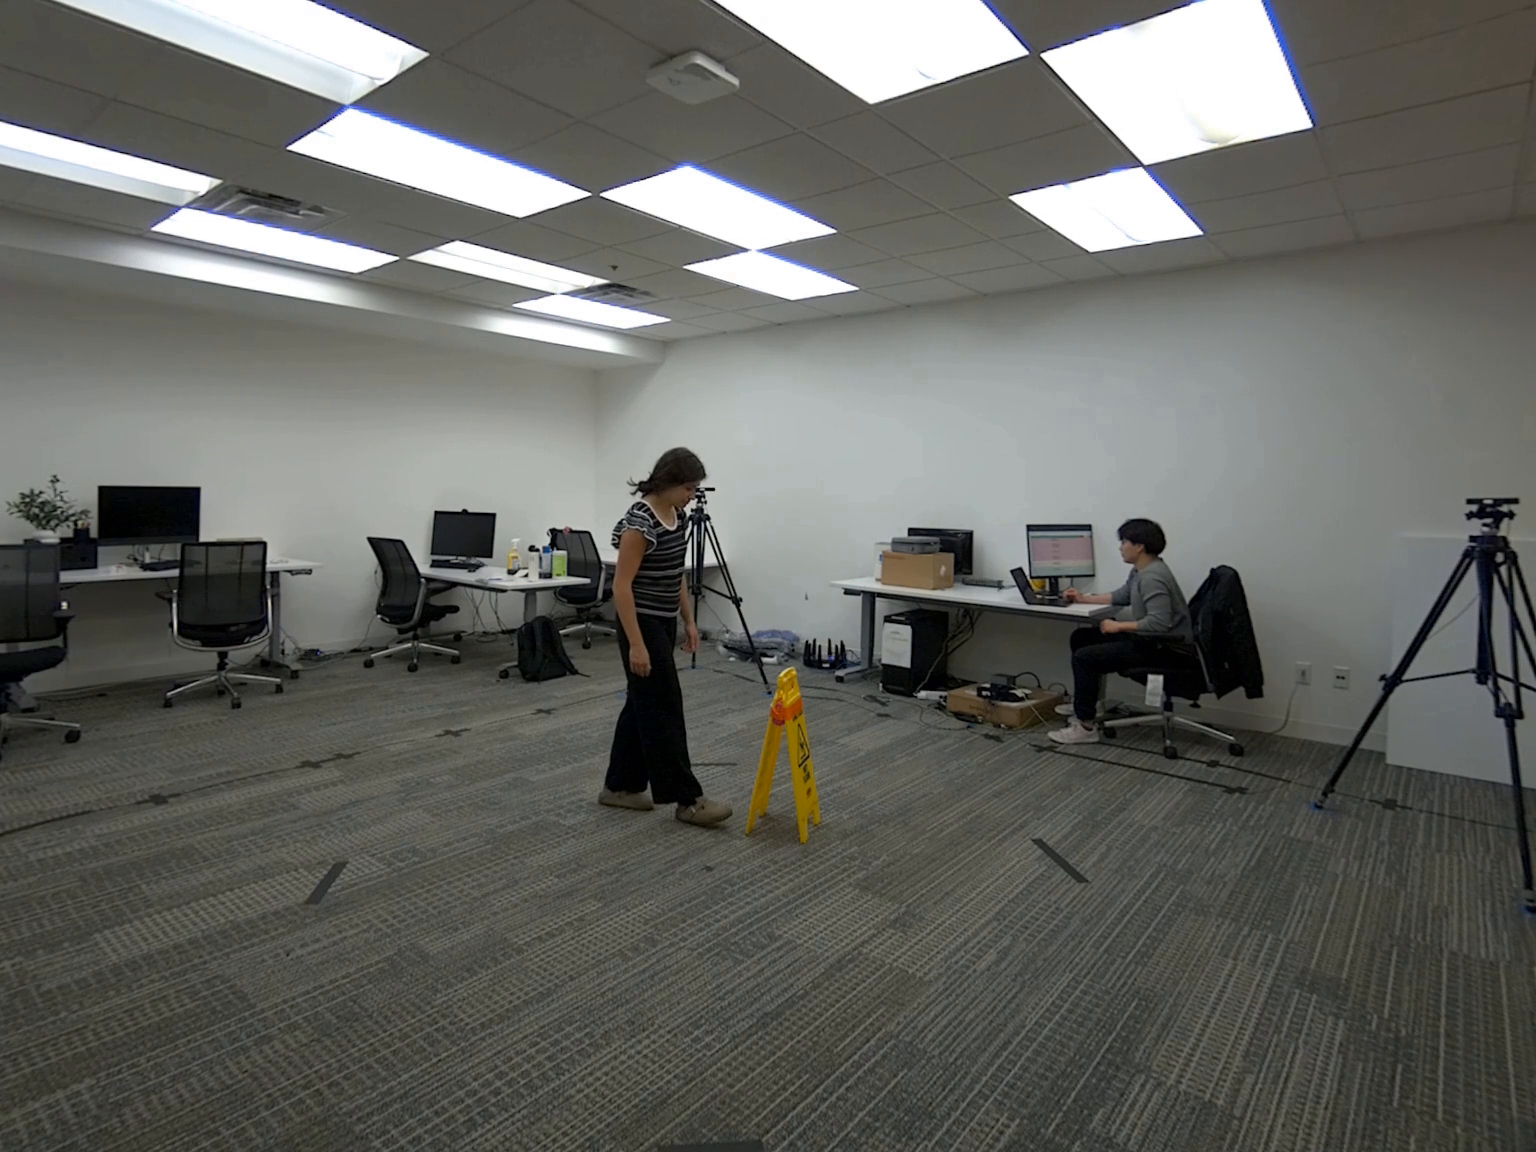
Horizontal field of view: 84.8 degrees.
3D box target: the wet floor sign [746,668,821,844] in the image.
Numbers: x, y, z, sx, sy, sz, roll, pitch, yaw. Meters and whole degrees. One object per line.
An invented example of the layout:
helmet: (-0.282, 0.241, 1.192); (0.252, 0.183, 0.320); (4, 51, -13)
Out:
wet floor sign: (0.066, 0.711, 3.496); (0.295, 0.644, 0.278); (3, 4, 17)
